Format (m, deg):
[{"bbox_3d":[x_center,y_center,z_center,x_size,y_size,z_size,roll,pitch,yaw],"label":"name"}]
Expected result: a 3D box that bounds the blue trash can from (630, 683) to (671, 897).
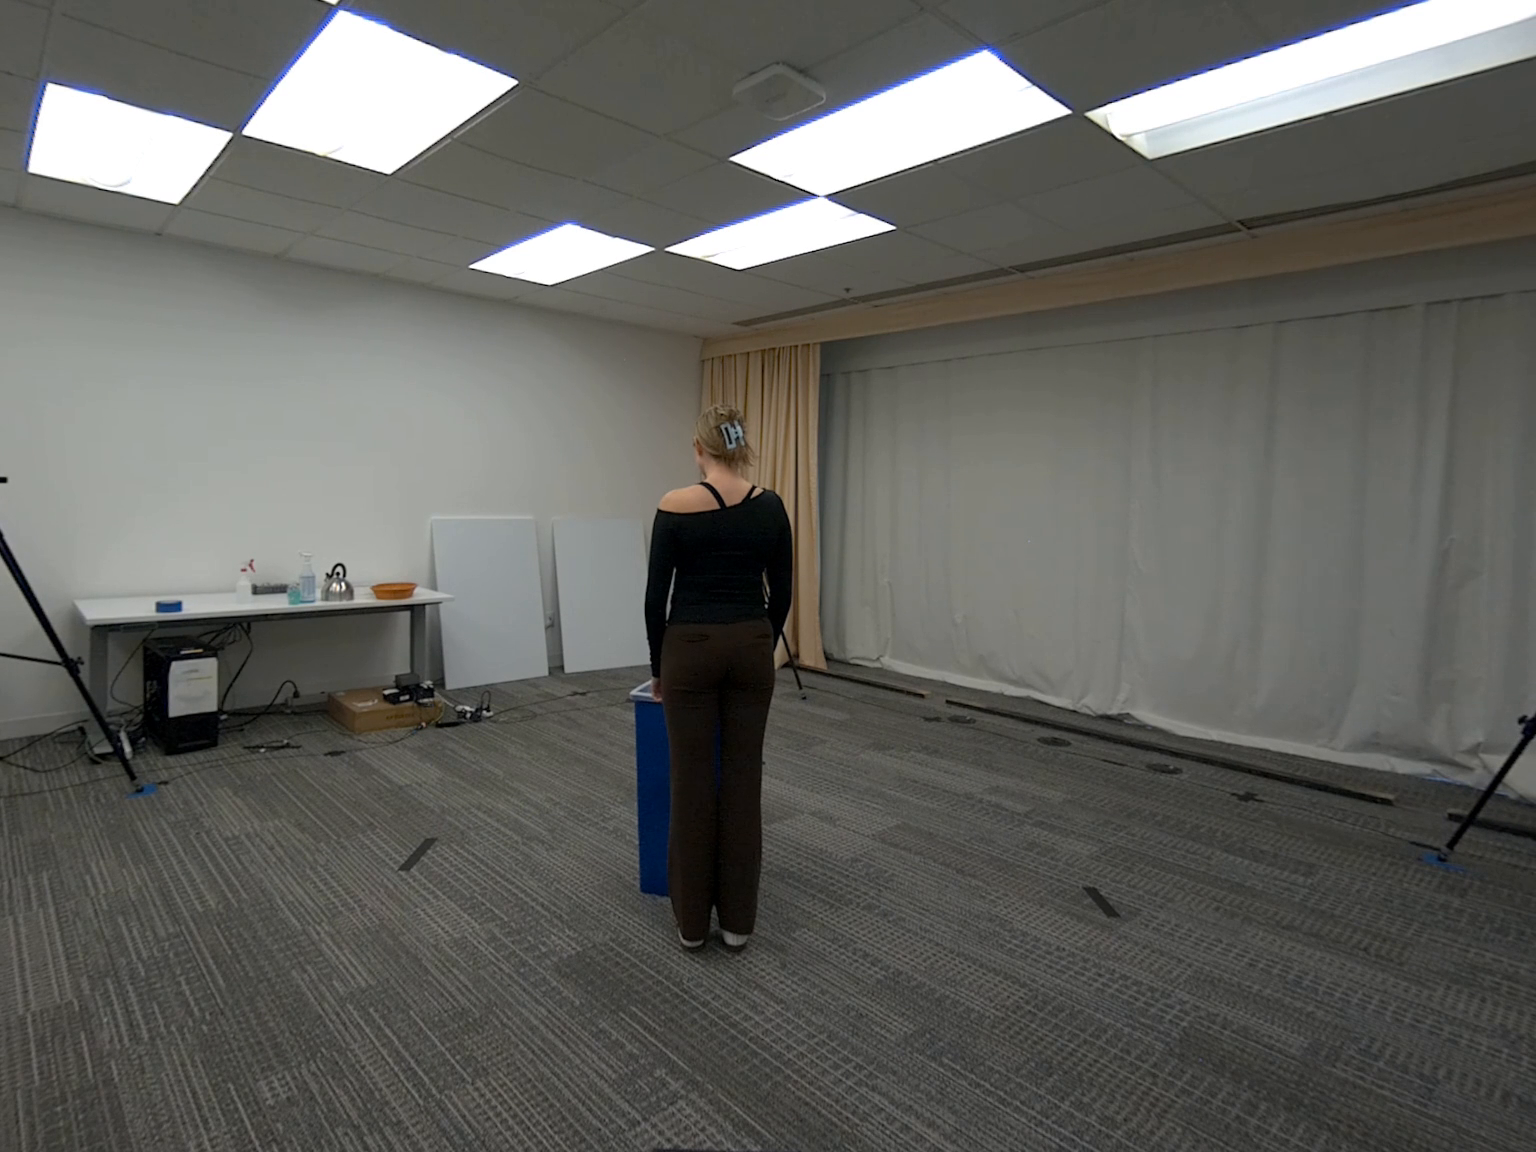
[{"bbox_3d":[-0.277,0.750,3.027,0.379,0.712,0.374,2,3,15],"label":"blue trash can"}]
